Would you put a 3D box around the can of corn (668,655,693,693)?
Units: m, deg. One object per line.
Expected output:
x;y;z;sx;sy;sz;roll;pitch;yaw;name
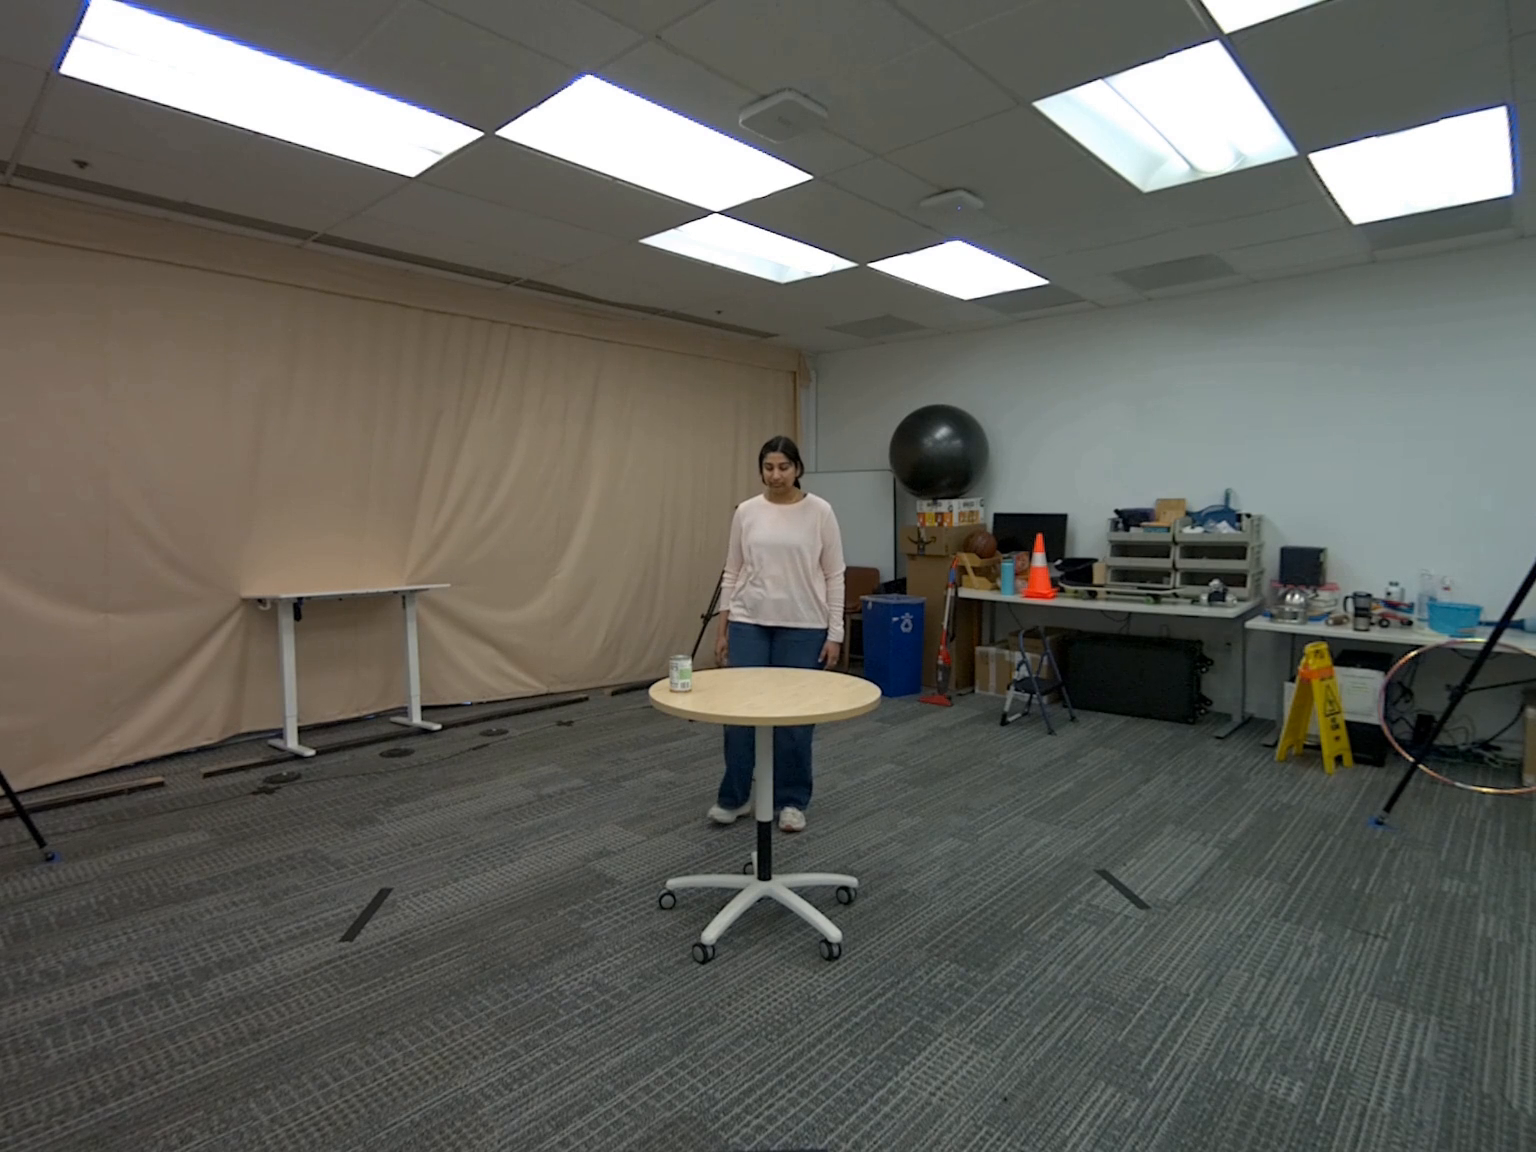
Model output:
-0.284;0.320;2.781;0.074;0.111;0.074;-1;3;-2;can of corn
